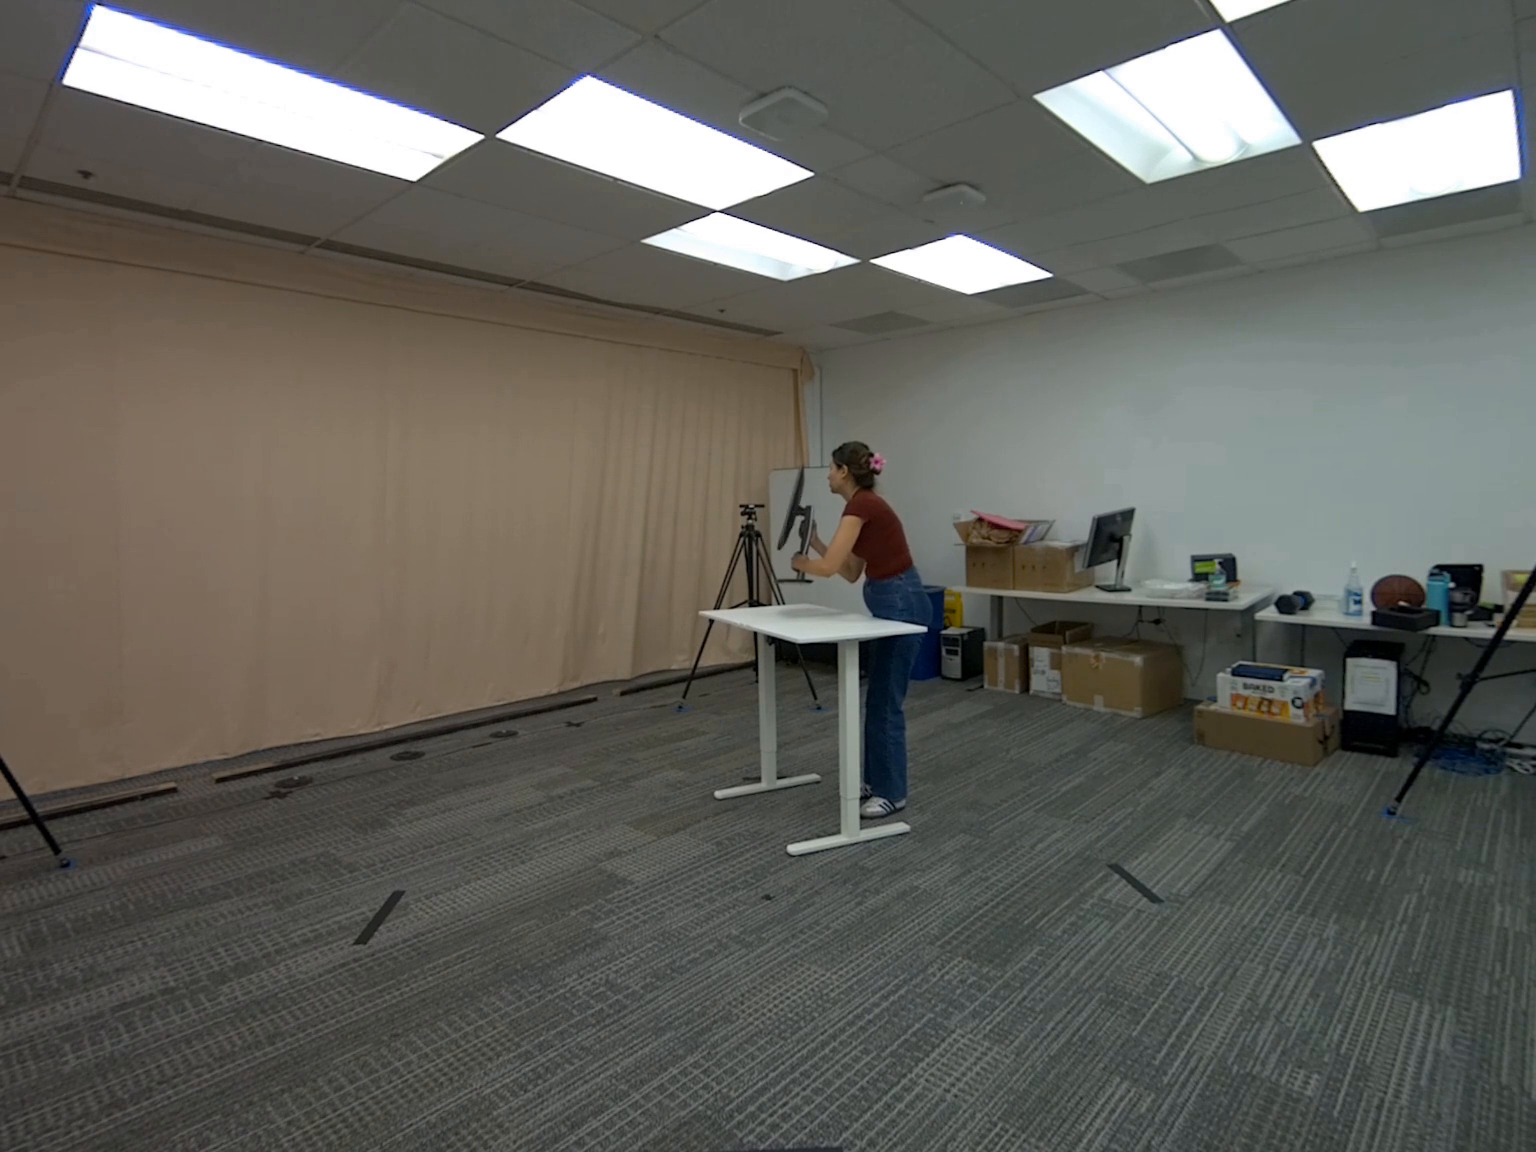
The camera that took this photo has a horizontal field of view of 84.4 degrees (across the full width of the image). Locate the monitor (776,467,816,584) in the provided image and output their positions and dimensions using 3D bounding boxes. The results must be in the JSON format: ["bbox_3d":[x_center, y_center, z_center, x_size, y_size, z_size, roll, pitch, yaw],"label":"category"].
[{"bbox_3d":[0.129,-0.215,3.945,0.187,0.524,0.537,3,-4,-1],"label":"monitor"}]
